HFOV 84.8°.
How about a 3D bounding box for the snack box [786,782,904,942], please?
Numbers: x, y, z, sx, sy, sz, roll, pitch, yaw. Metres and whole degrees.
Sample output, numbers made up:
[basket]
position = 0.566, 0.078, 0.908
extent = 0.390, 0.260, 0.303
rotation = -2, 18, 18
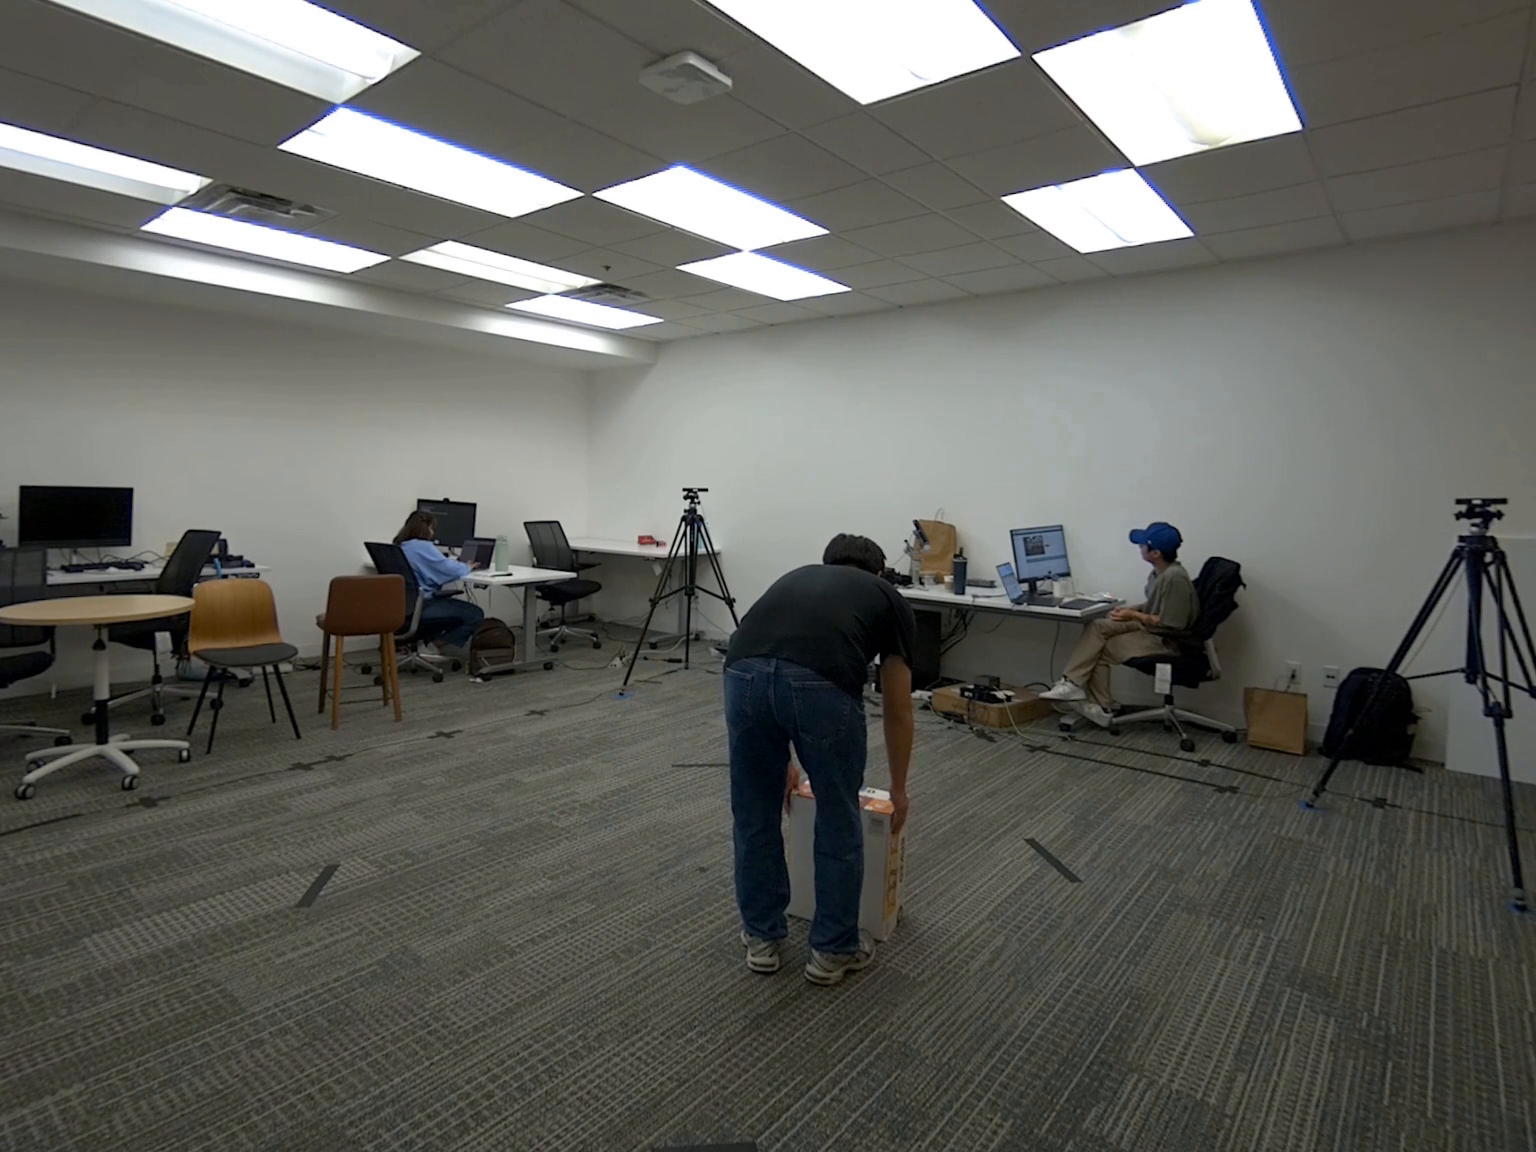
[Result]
[snack box]
position = 0.251, 0.907, 2.784
extent = 0.350, 0.404, 0.201
rotation = 4, 4, 26
